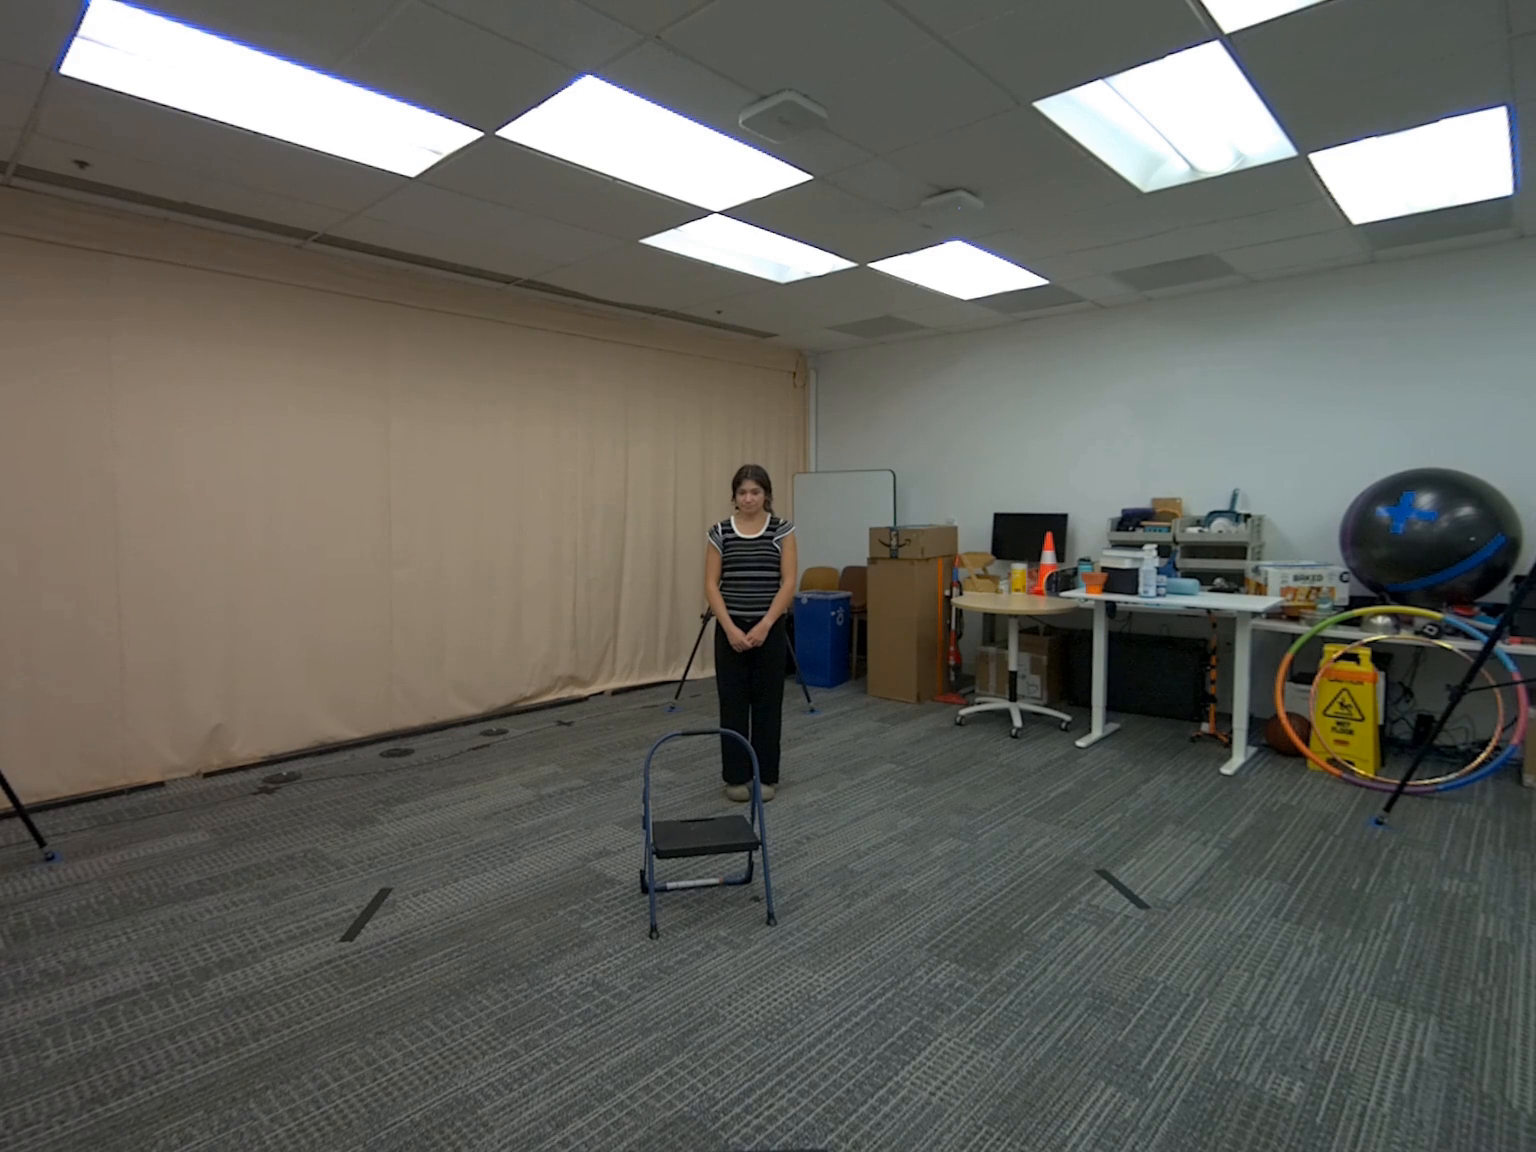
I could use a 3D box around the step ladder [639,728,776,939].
[{"bbox_3d":[-0.220,0.847,2.913,0.425,0.605,0.354,-1,3,-13],"label":"step ladder"}]
